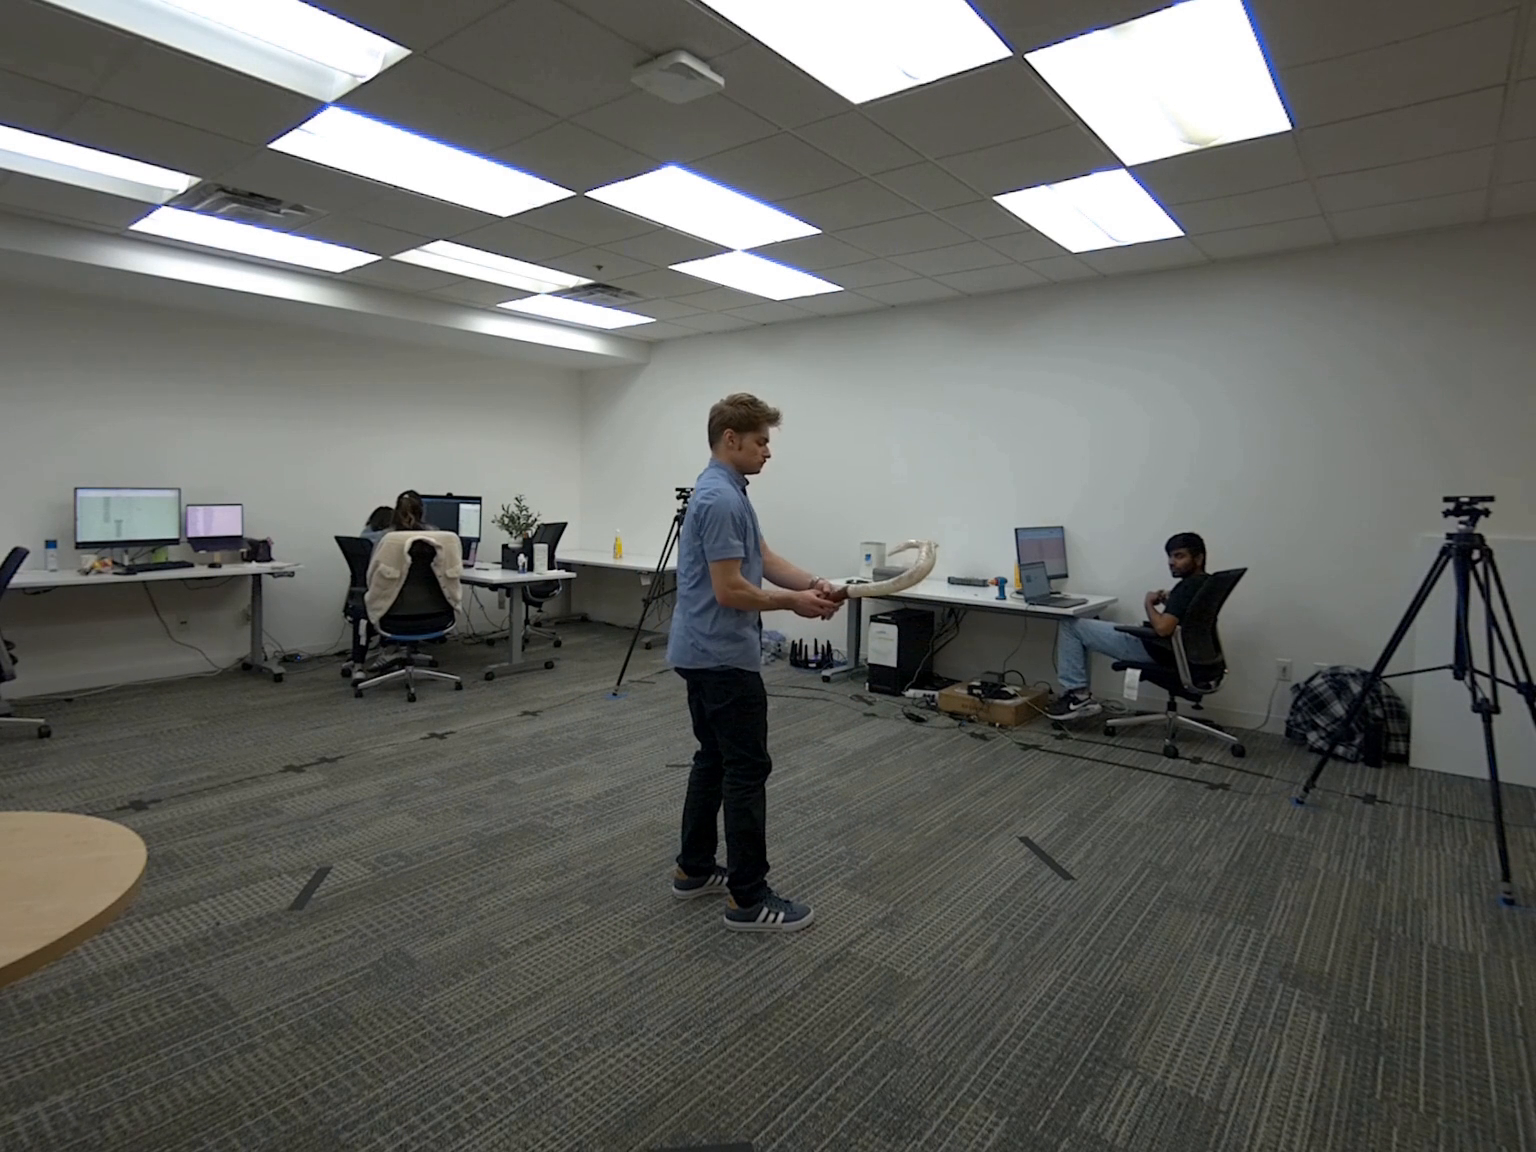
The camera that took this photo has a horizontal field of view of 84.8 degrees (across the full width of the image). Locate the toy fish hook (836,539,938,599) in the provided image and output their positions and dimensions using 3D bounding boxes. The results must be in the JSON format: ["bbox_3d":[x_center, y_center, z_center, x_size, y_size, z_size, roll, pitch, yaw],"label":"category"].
[{"bbox_3d":[0.309,0.010,2.703,0.516,0.047,0.227,-19,31,37],"label":"toy fish hook"}]
